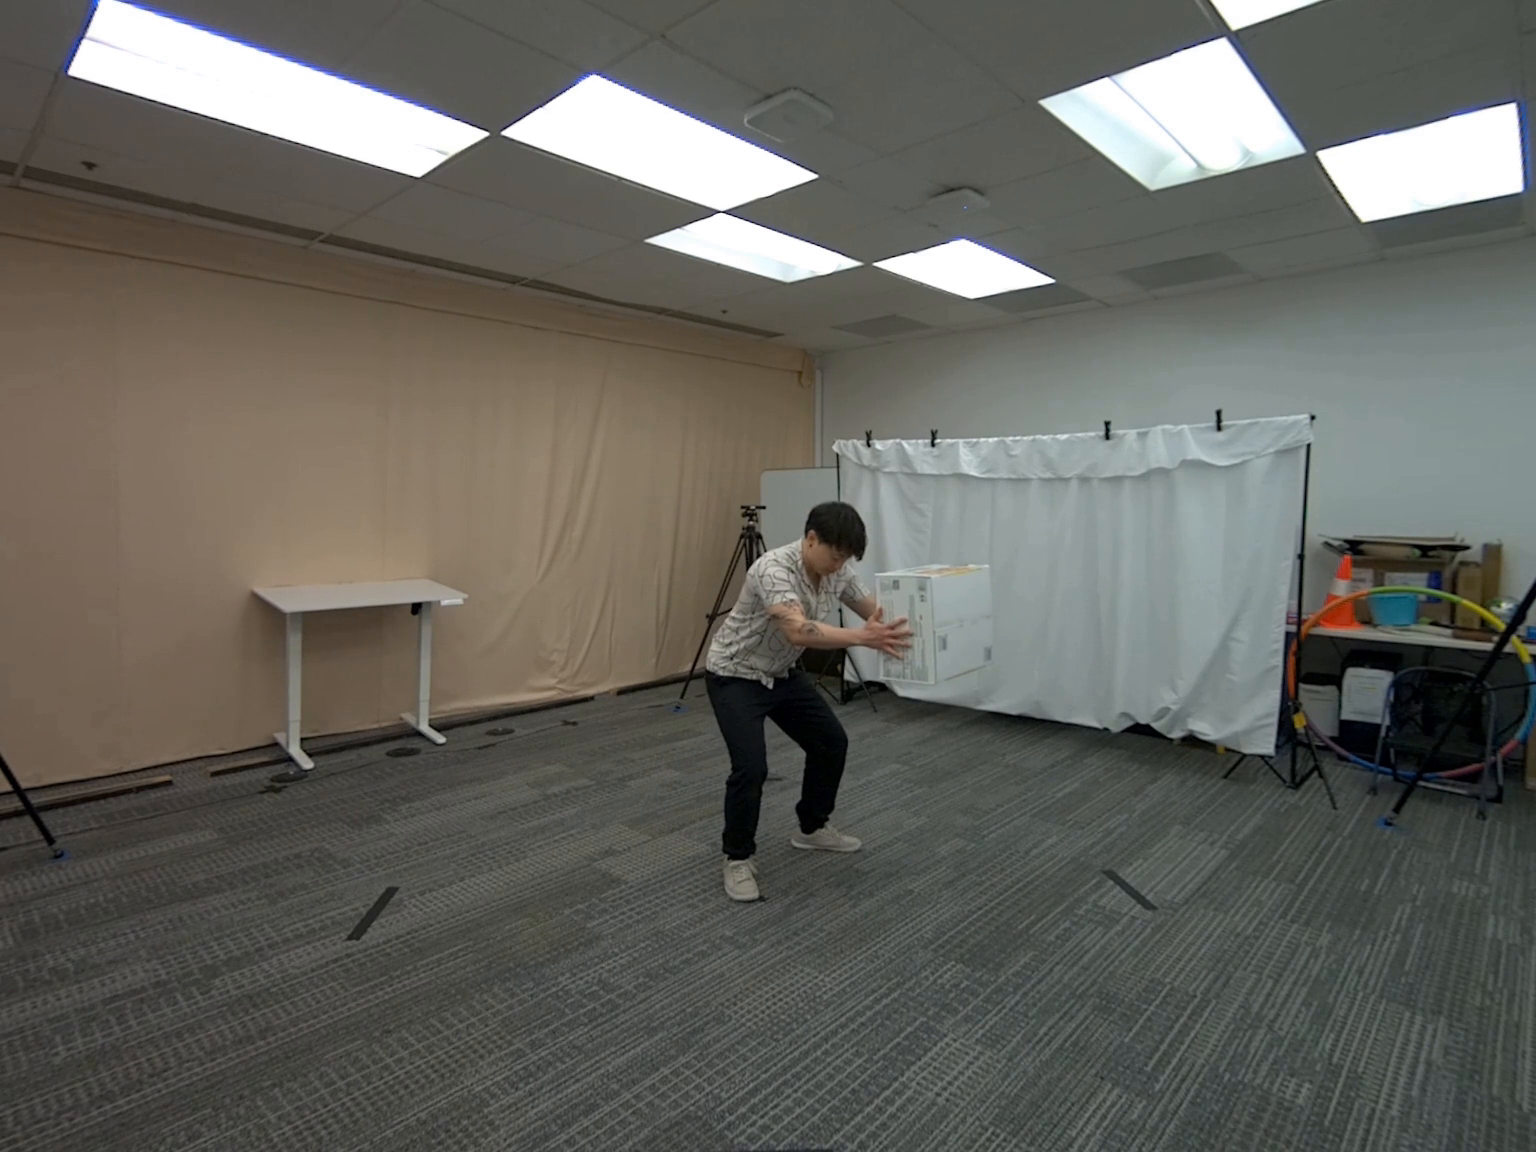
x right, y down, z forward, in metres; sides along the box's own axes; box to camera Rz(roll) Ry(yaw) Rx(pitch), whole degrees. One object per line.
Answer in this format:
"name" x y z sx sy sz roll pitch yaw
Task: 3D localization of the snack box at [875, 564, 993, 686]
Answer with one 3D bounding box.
"snack box" 0.555 0.155 2.765 0.212 0.339 0.393 0 5 41
